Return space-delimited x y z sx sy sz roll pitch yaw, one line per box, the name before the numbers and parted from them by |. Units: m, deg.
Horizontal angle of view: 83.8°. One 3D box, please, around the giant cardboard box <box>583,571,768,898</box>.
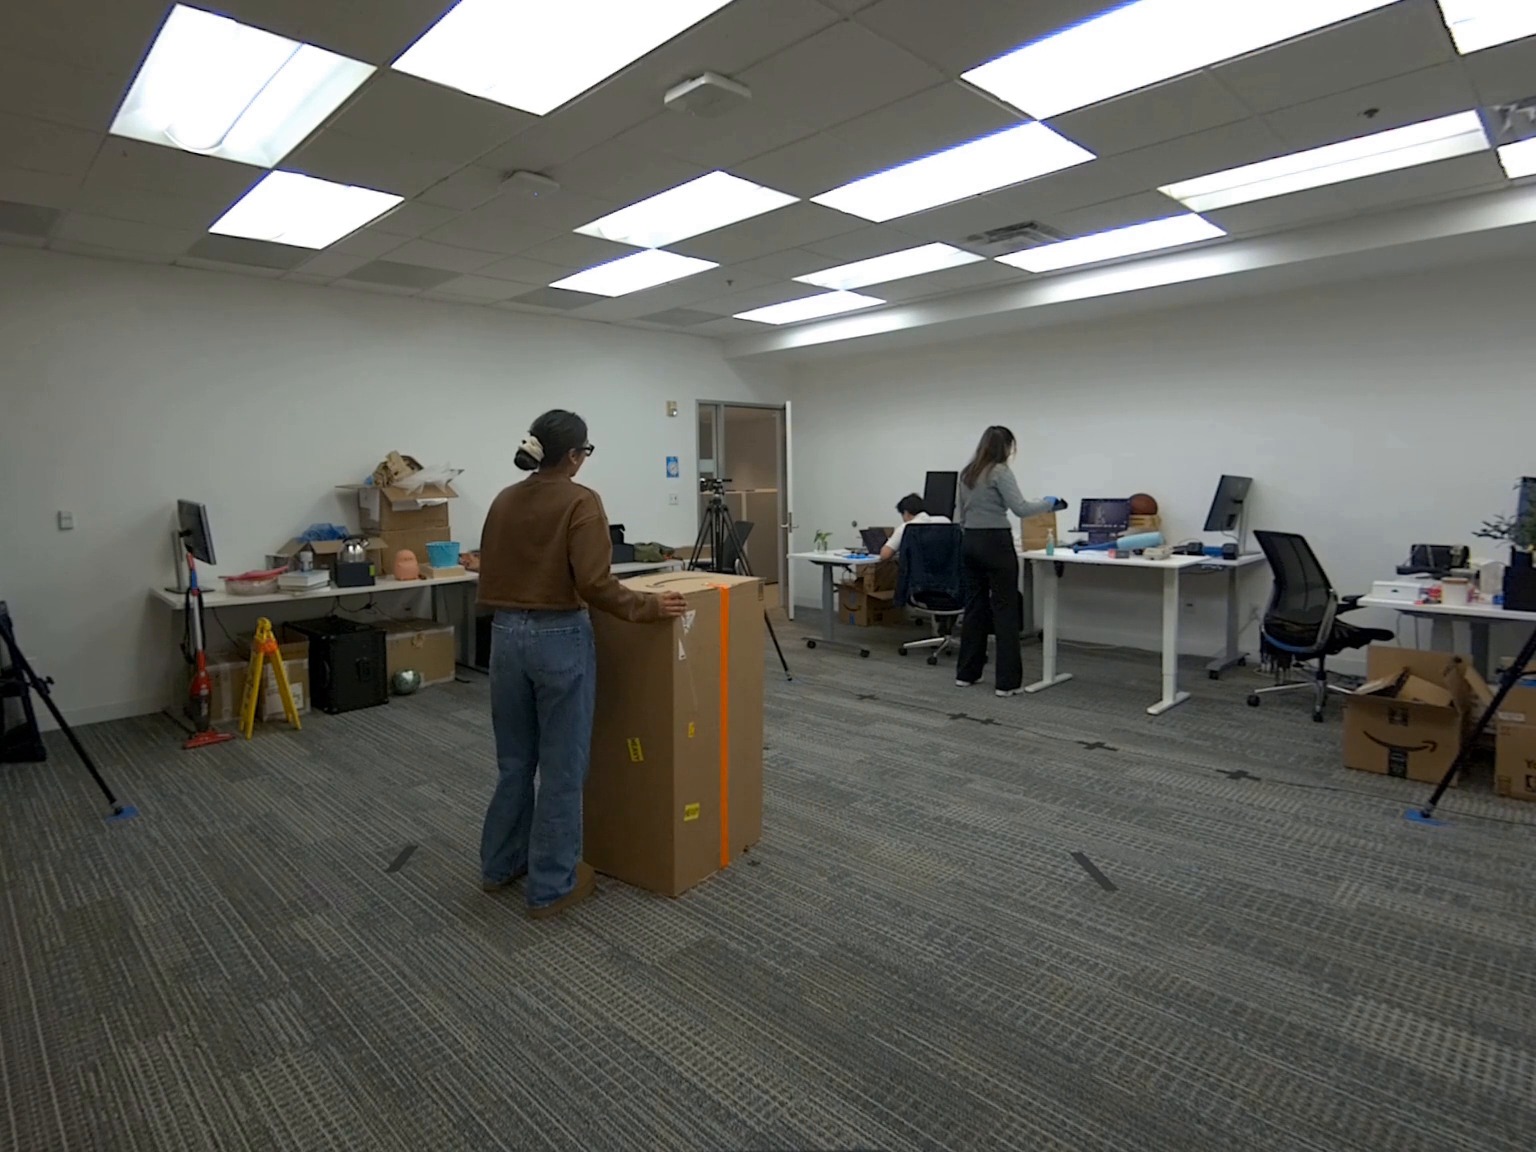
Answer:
giant cardboard box | -0.334 0.531 3.179 0.438 1.022 0.563 3 5 33
